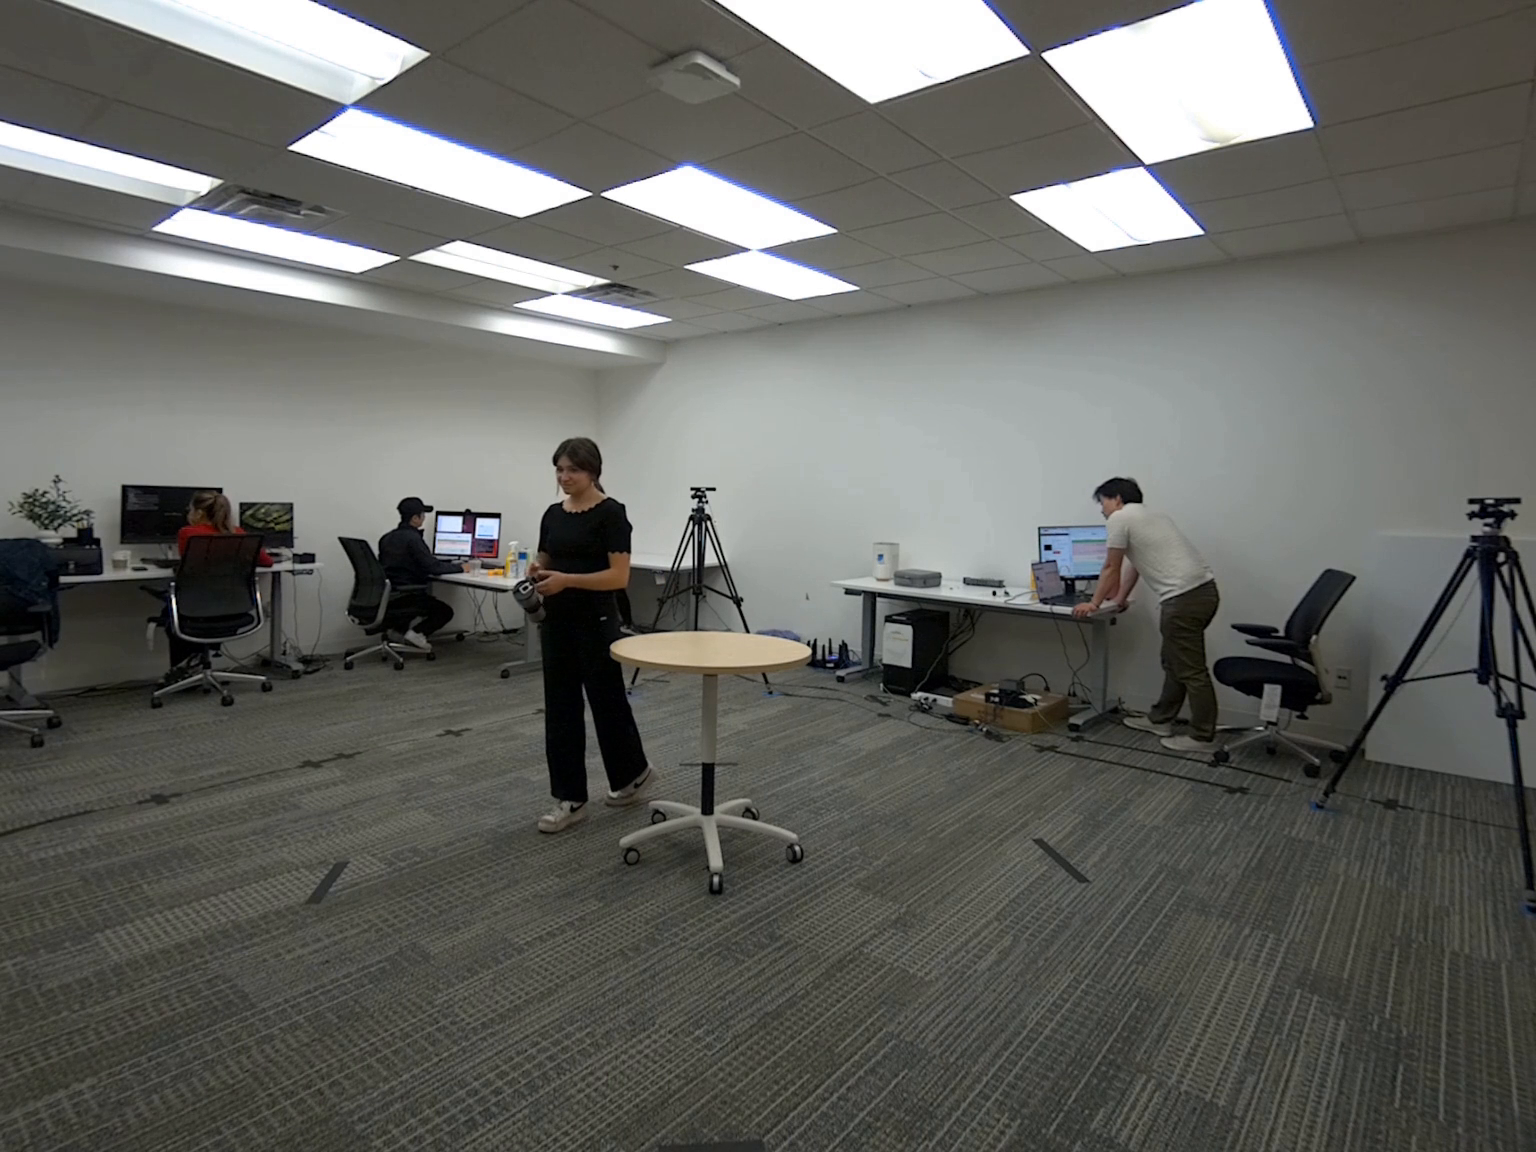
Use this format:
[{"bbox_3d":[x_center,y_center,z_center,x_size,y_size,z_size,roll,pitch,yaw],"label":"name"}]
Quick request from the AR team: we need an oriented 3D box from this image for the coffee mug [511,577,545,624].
[{"bbox_3d":[-0.952,0.100,3.328,0.088,0.126,0.197,-15,-32,-4],"label":"coffee mug"}]
